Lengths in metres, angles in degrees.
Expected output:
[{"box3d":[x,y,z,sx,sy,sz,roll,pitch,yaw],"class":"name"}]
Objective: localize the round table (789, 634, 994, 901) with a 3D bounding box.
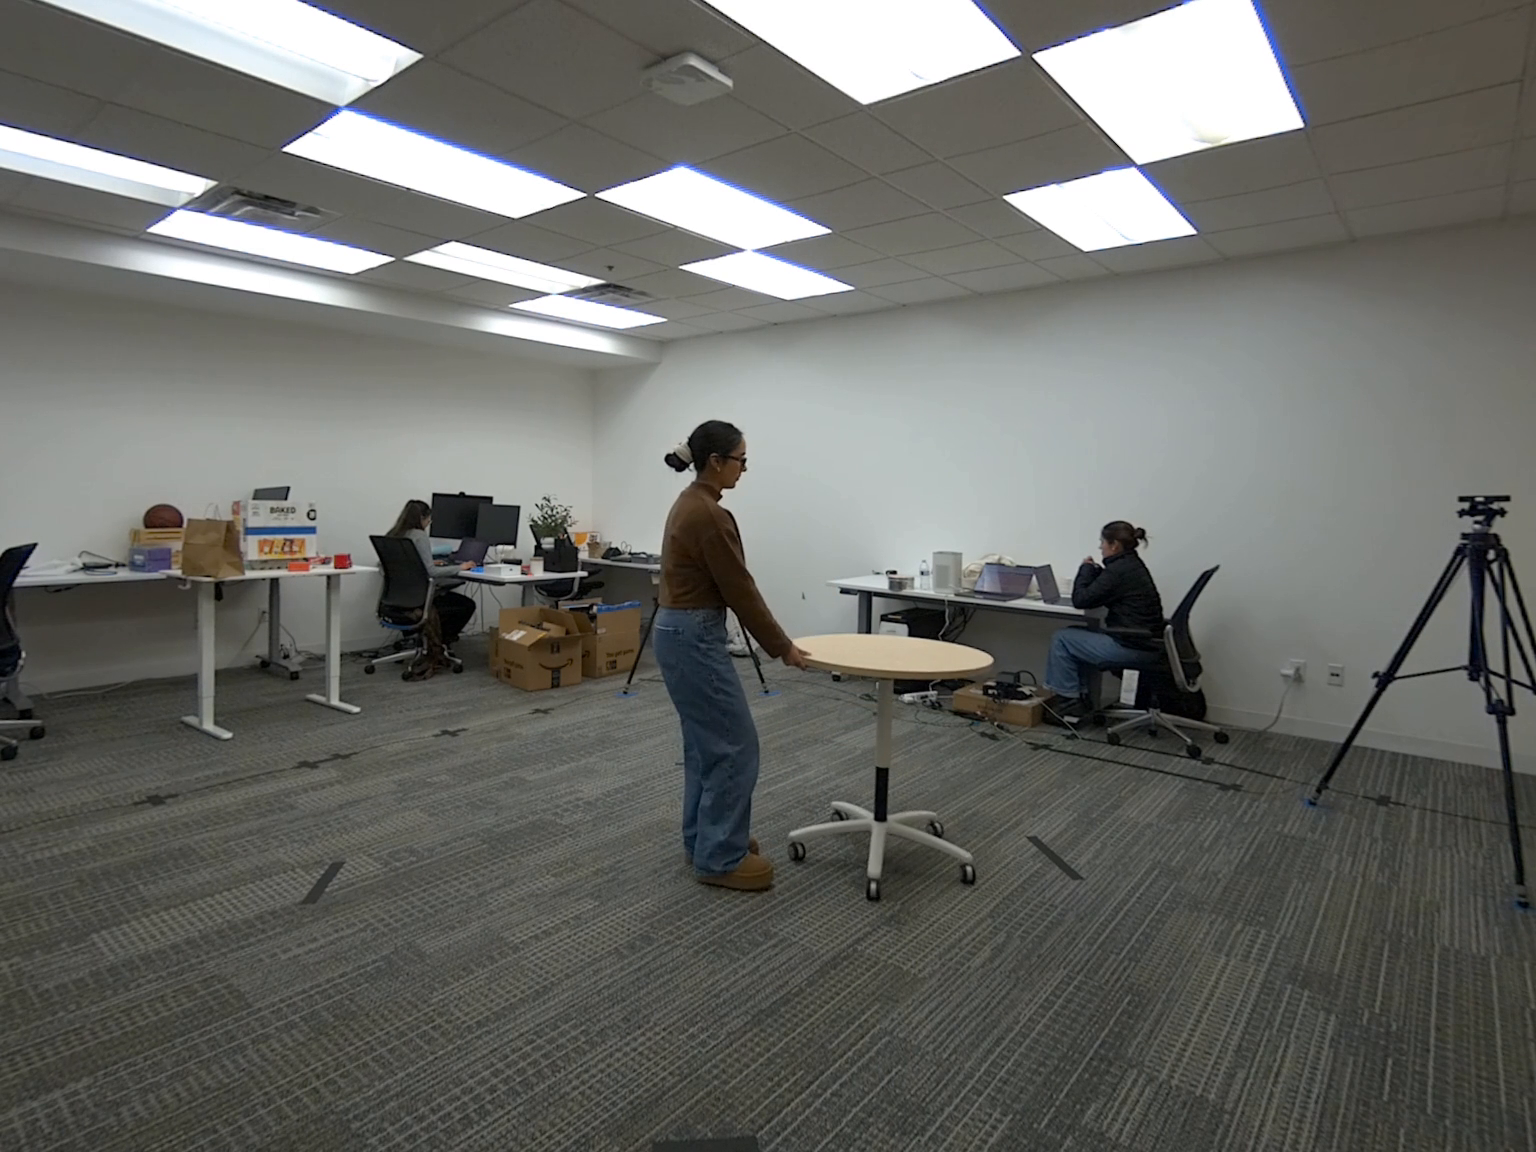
[{"box3d":[0.408,0.673,3.201,0.784,0.784,0.789,1,4,-2],"class":"round table"}]
